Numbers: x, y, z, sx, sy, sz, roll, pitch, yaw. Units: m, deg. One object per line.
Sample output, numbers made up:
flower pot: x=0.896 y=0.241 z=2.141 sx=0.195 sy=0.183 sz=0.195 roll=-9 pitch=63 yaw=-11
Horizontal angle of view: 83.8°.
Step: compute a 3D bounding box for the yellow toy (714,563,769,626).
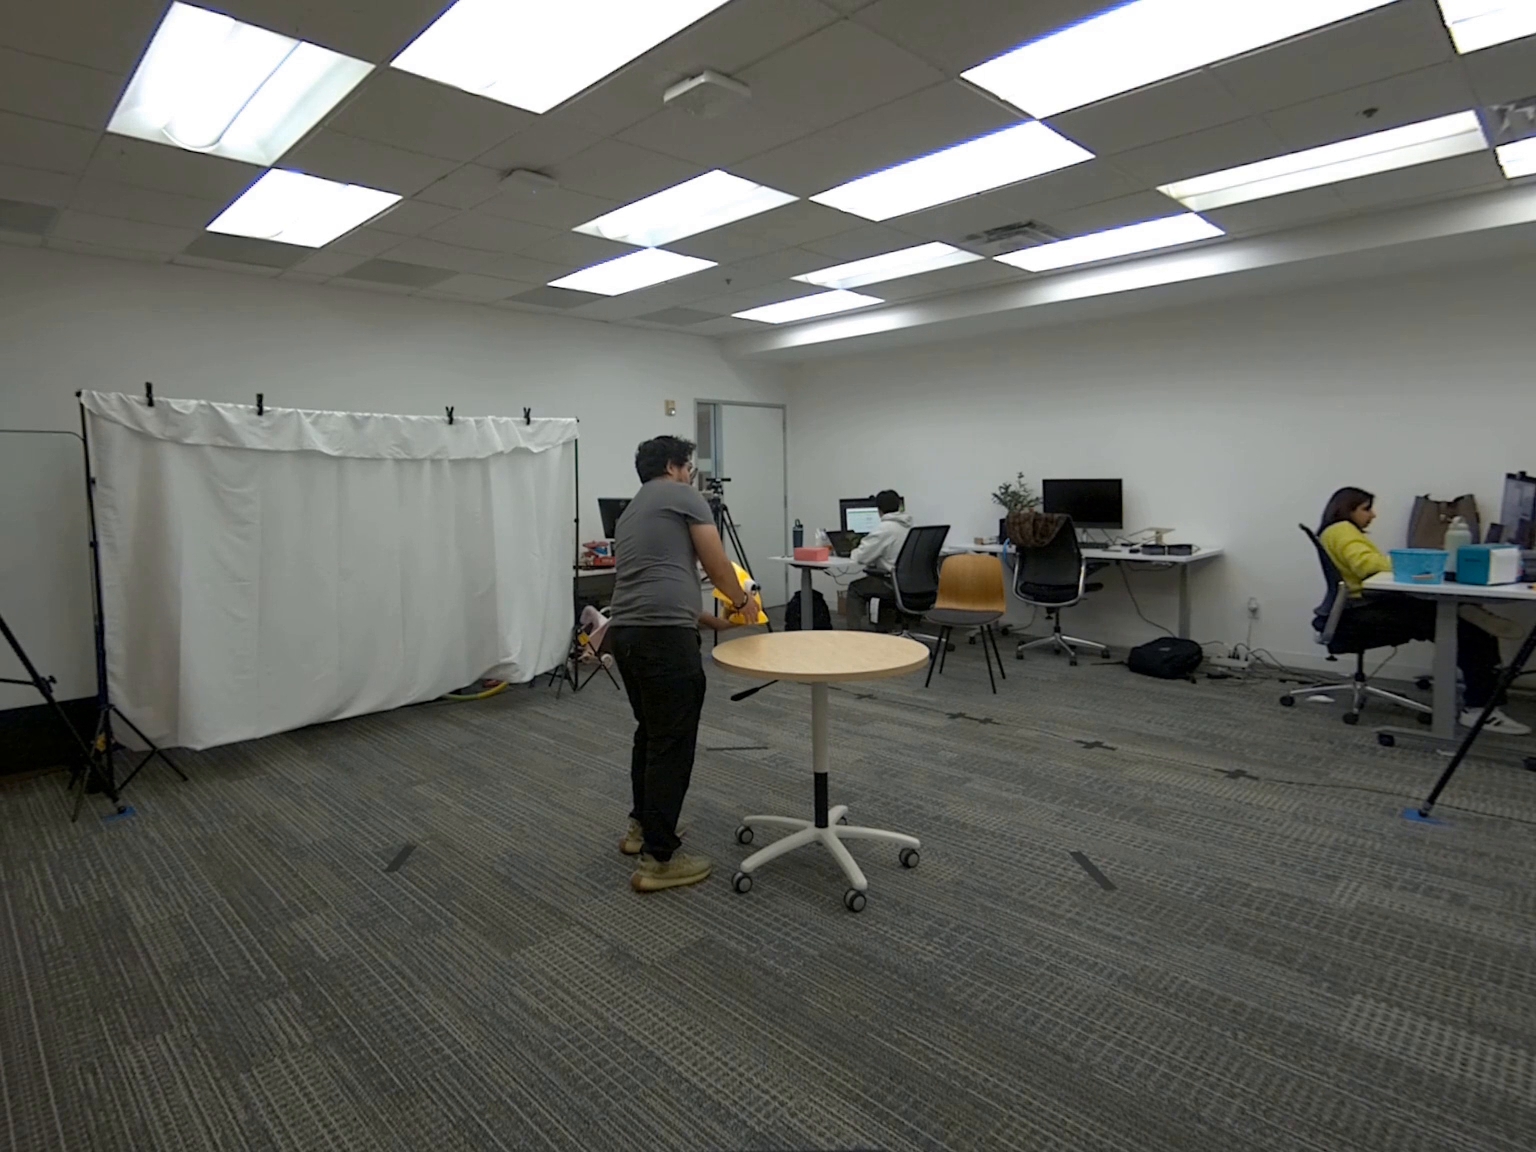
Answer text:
yellow toy: x=-0.105 y=0.056 z=3.426 sx=0.188 sy=0.229 sz=0.211 roll=-1 pitch=8 yaw=-31
